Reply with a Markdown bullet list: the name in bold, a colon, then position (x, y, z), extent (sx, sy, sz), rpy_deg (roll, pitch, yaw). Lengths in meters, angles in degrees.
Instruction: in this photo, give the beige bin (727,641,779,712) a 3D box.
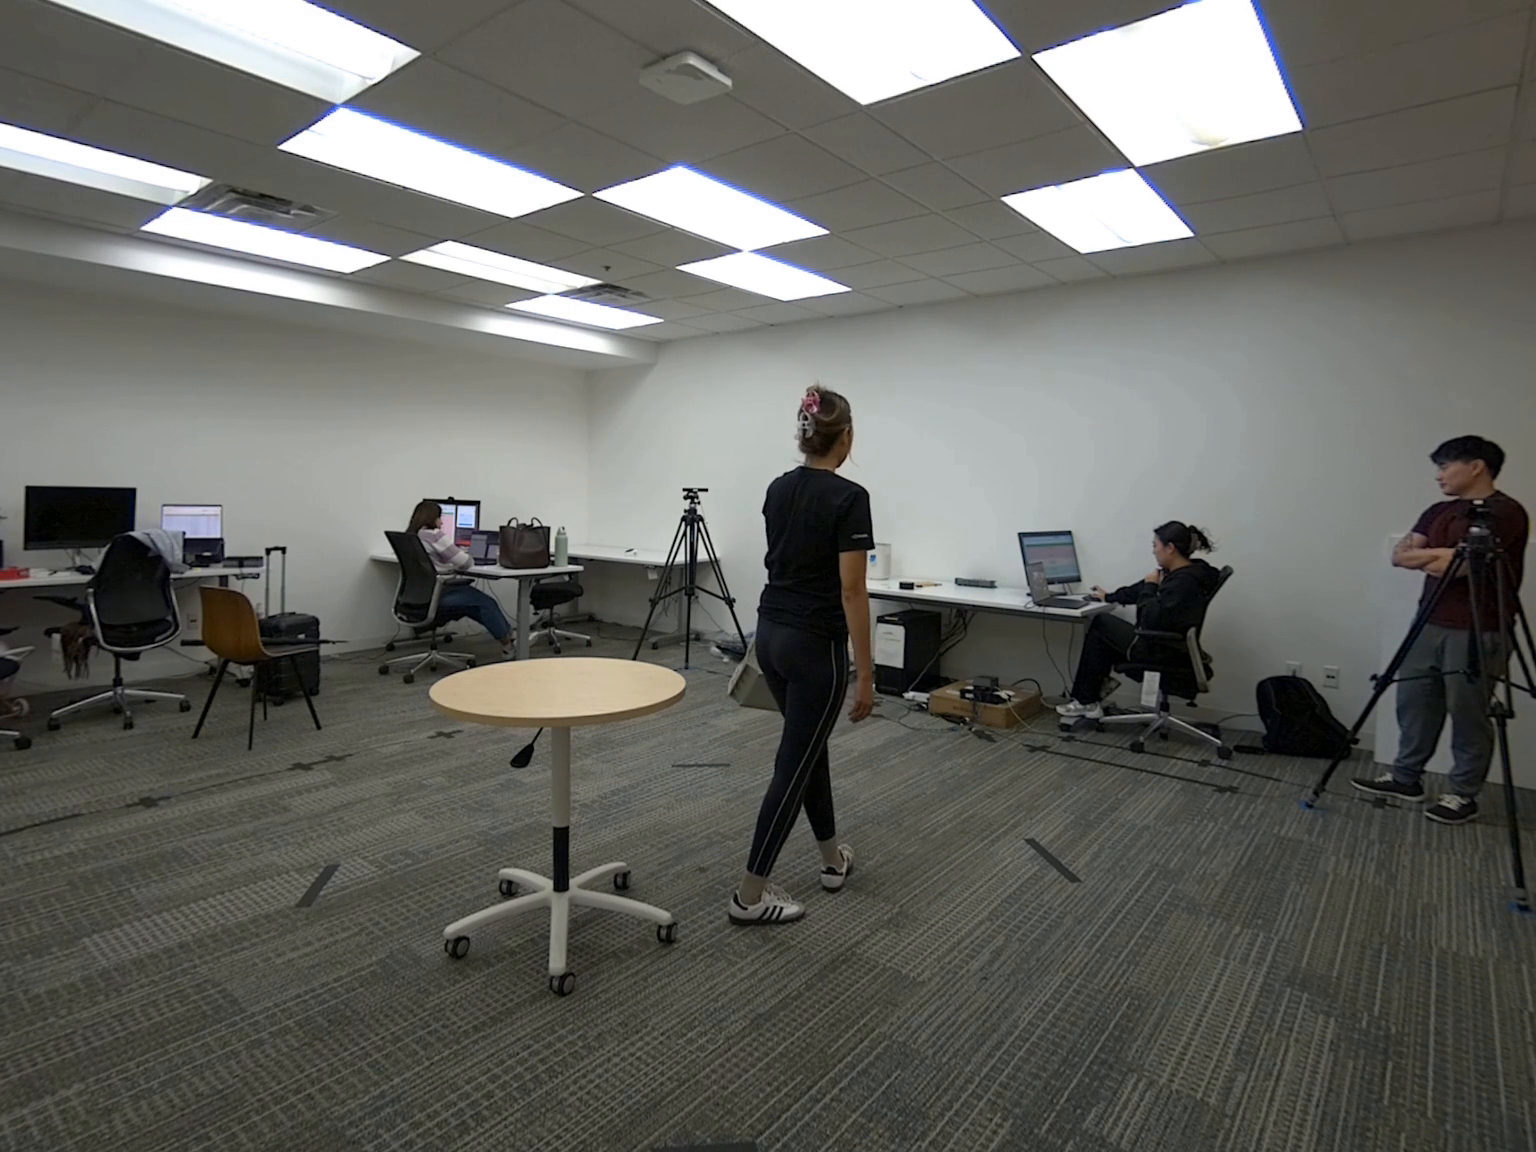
- **beige bin**: position (0.047, 0.379, 3.368), extent (0.375, 0.193, 0.416), rpy_deg (11, -29, -6)
